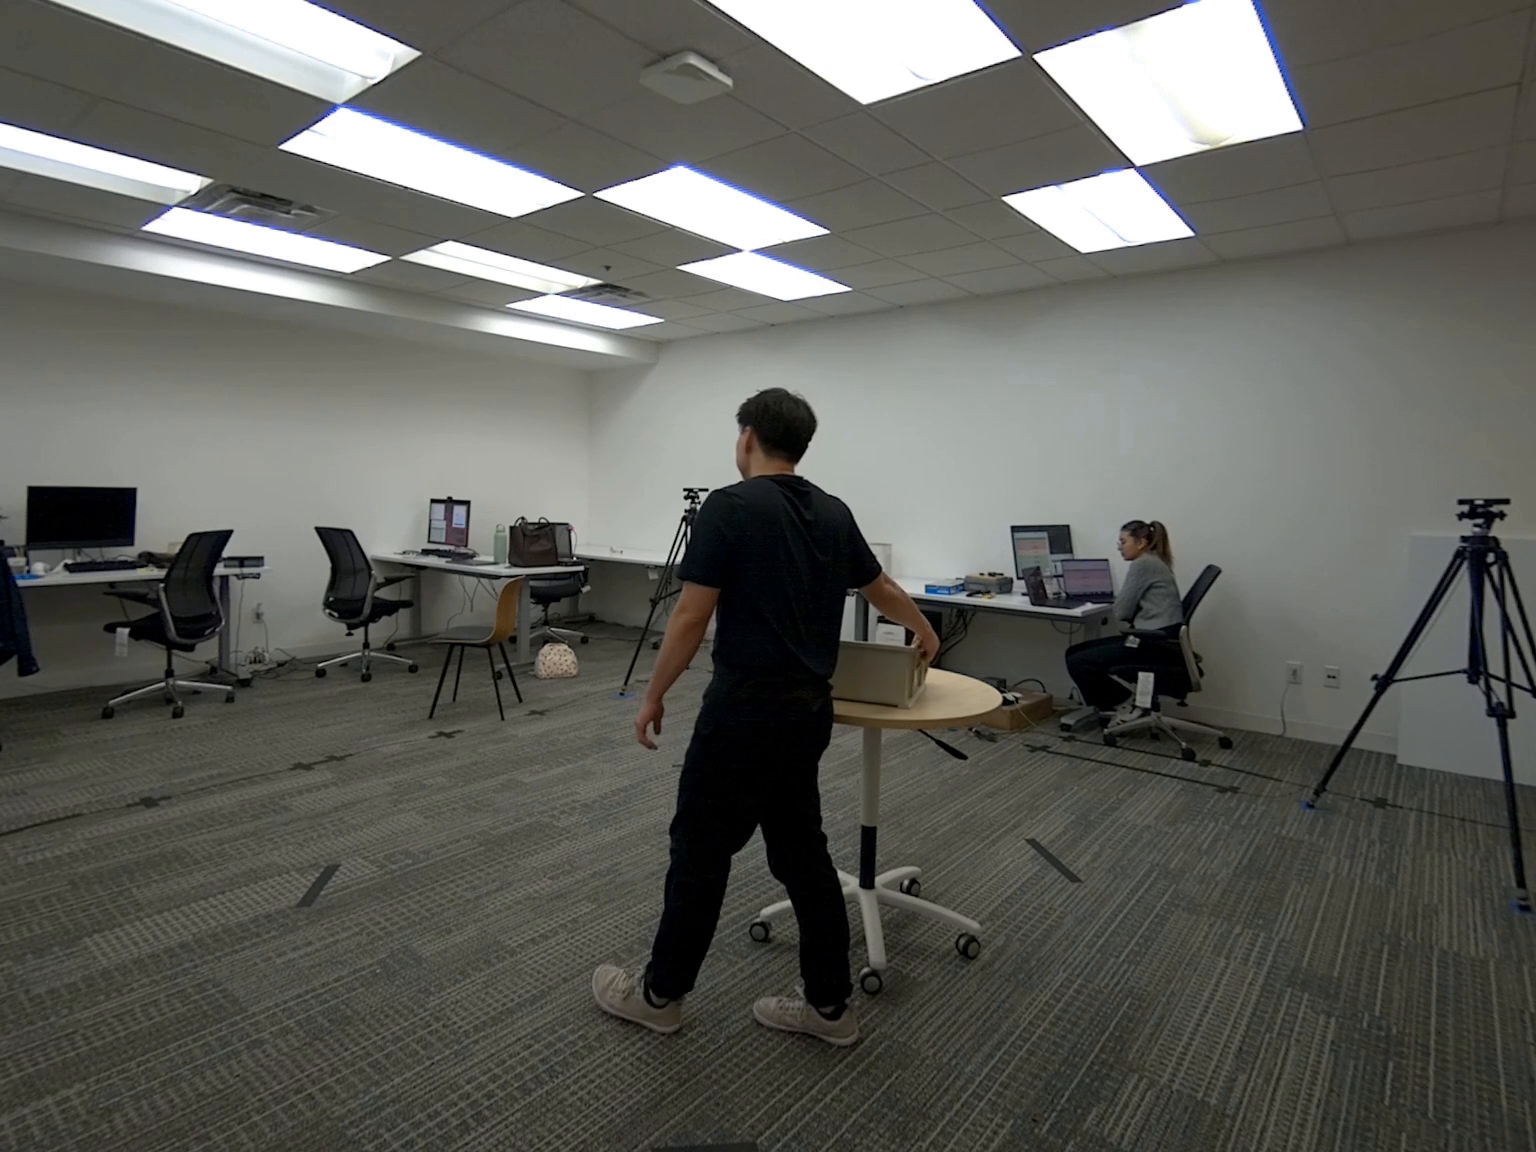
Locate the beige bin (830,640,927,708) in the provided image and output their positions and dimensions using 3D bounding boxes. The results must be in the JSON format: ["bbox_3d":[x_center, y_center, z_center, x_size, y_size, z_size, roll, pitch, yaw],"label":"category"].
[{"bbox_3d":[0.250,0.254,2.617,0.431,0.188,0.372,4,8,19],"label":"beige bin"}]
